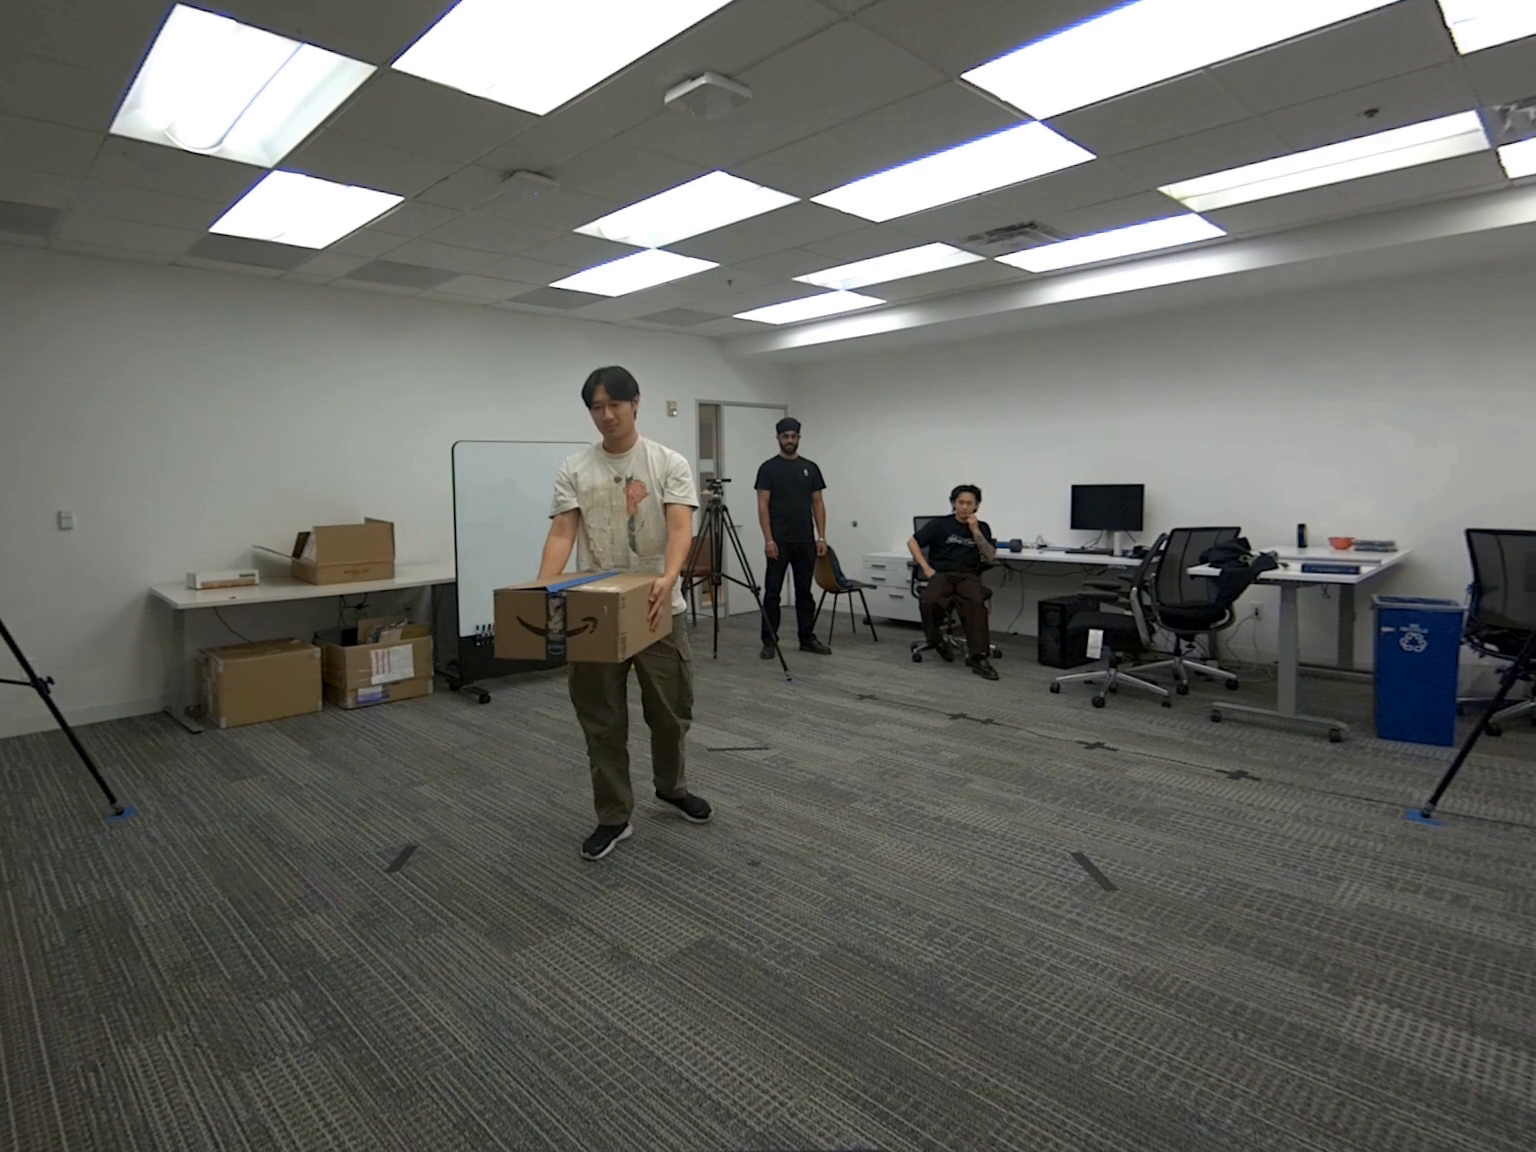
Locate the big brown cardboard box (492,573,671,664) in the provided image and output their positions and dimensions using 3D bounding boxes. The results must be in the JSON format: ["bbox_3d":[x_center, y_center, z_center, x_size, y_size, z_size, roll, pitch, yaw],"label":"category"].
[{"bbox_3d":[-0.593,0.126,2.864,0.422,0.232,0.584,0,4,10],"label":"big brown cardboard box"}]
